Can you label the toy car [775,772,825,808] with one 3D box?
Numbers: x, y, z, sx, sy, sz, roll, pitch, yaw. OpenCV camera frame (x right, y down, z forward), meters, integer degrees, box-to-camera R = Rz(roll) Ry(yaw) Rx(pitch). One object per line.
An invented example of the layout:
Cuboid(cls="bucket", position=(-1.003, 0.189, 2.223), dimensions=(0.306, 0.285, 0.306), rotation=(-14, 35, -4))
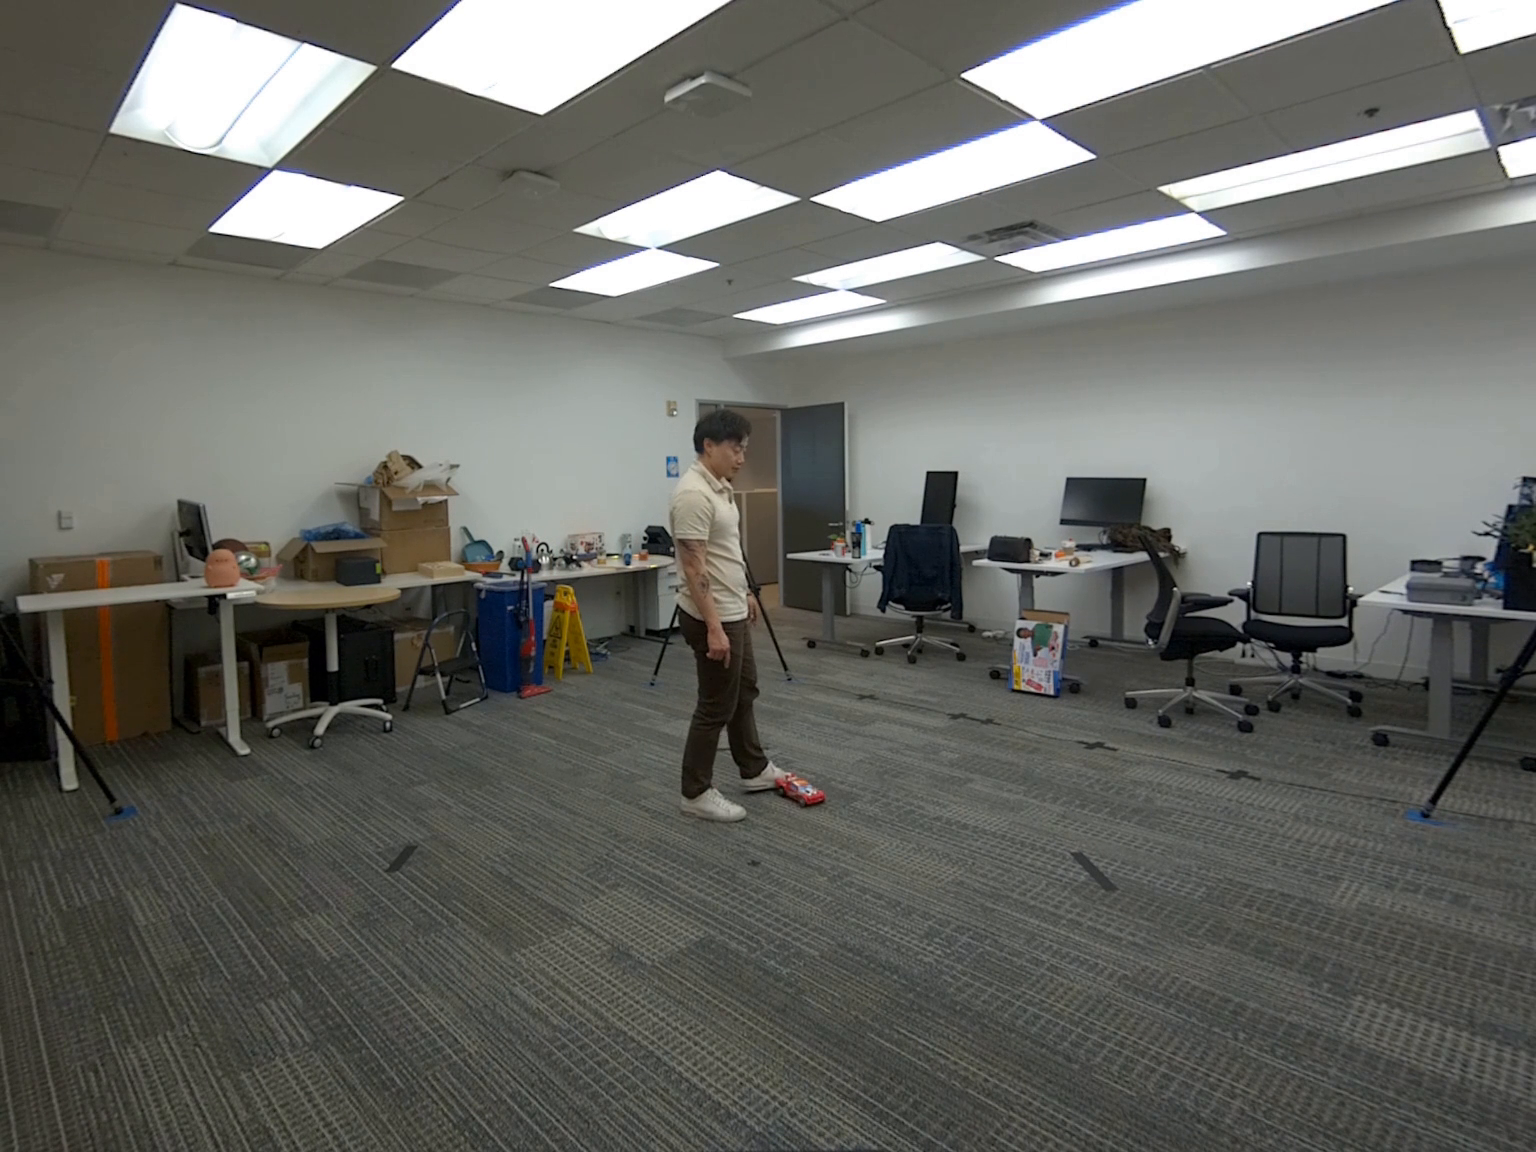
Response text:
Cuboid(cls="toy car", position=(0.132, 0.938, 3.738), dimensions=(0.127, 0.082, 0.264), rotation=(-3, 17, -33))
